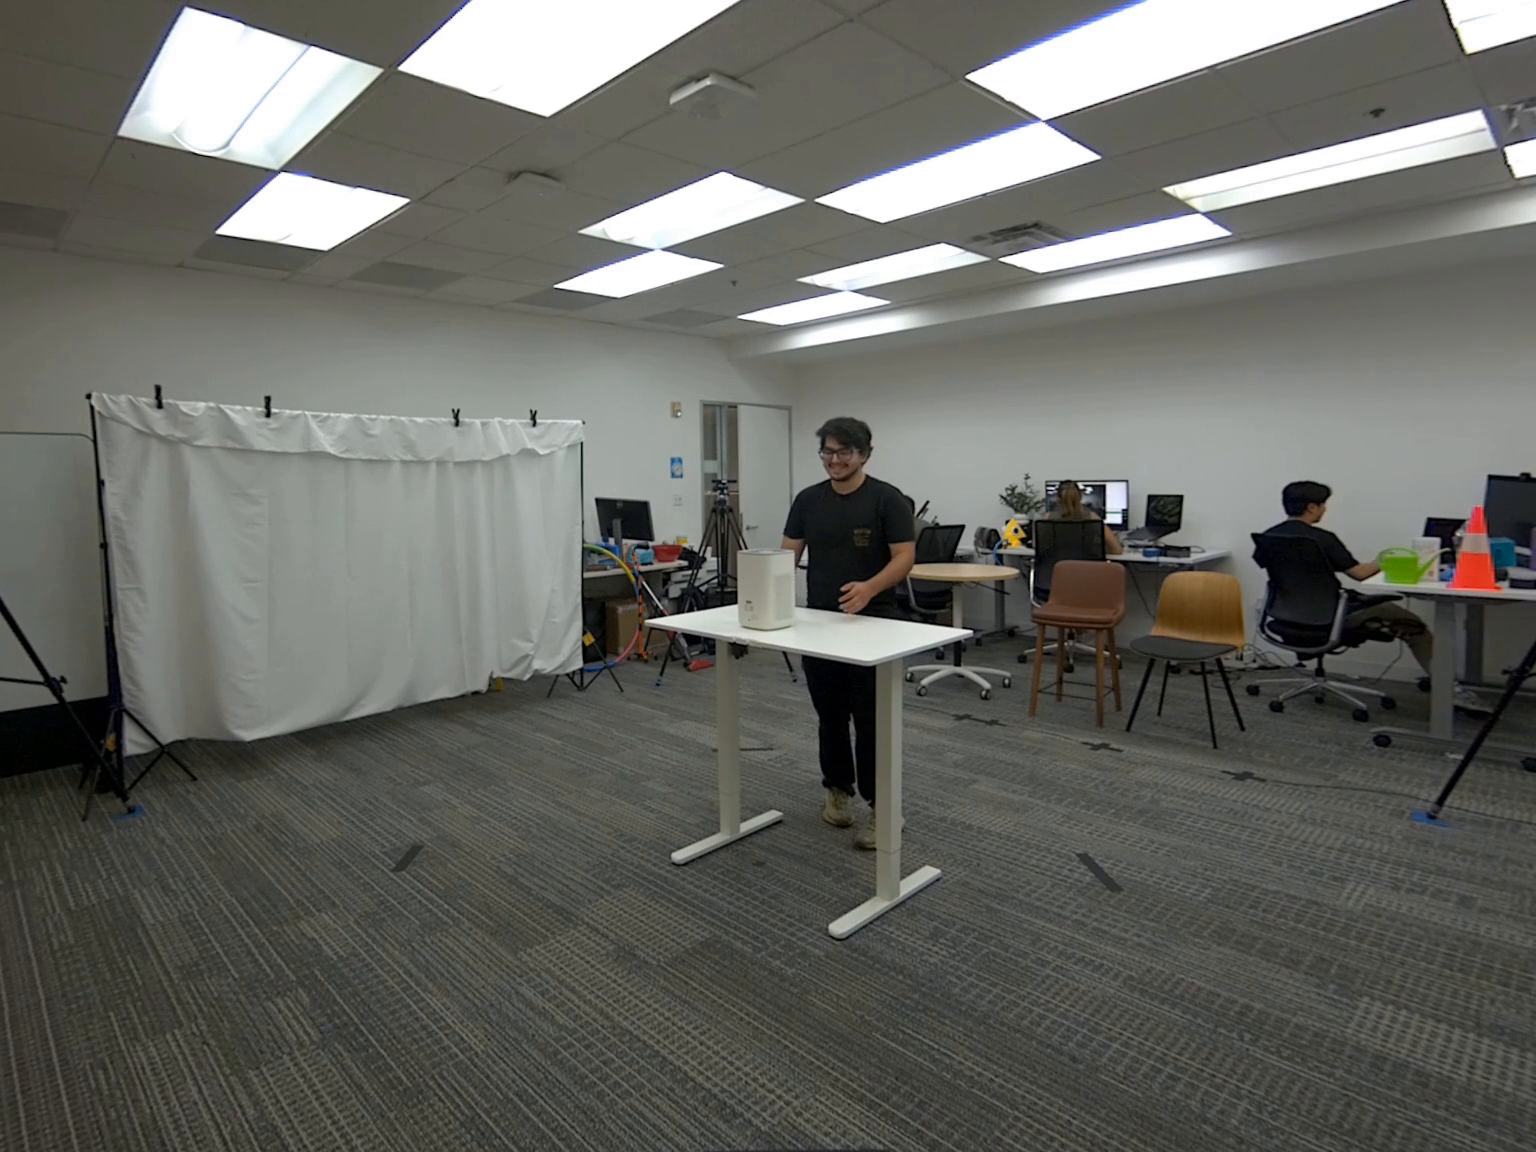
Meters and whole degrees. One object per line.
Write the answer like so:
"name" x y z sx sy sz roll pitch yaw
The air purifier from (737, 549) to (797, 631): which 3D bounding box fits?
"air purifier" -0.003 0.044 2.977 0.167 0.264 0.176 -6 8 -45
